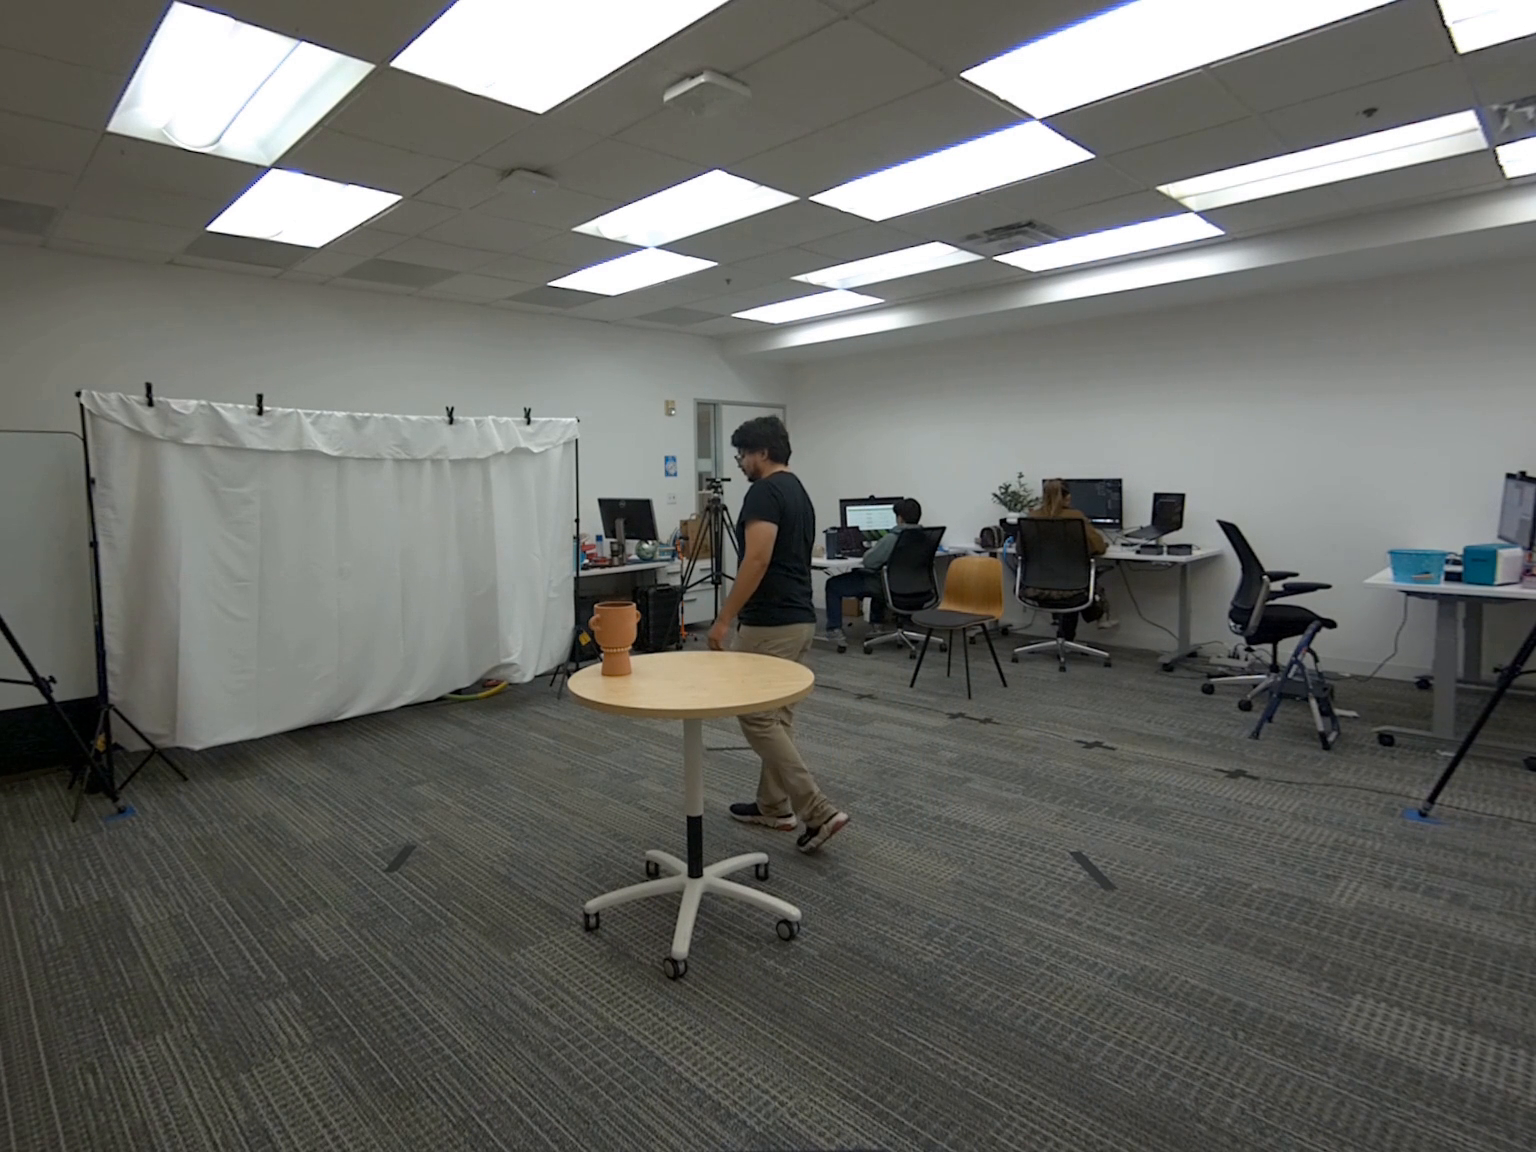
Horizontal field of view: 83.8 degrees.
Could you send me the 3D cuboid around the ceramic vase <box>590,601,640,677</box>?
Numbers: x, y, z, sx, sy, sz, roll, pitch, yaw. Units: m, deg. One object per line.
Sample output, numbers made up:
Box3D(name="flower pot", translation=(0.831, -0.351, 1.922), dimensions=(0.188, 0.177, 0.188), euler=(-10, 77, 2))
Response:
Box3D(name="ceramic vase", translation=(-0.477, 0.199, 2.729), dimensions=(0.158, 0.219, 0.136), euler=(-2, 6, -8))
